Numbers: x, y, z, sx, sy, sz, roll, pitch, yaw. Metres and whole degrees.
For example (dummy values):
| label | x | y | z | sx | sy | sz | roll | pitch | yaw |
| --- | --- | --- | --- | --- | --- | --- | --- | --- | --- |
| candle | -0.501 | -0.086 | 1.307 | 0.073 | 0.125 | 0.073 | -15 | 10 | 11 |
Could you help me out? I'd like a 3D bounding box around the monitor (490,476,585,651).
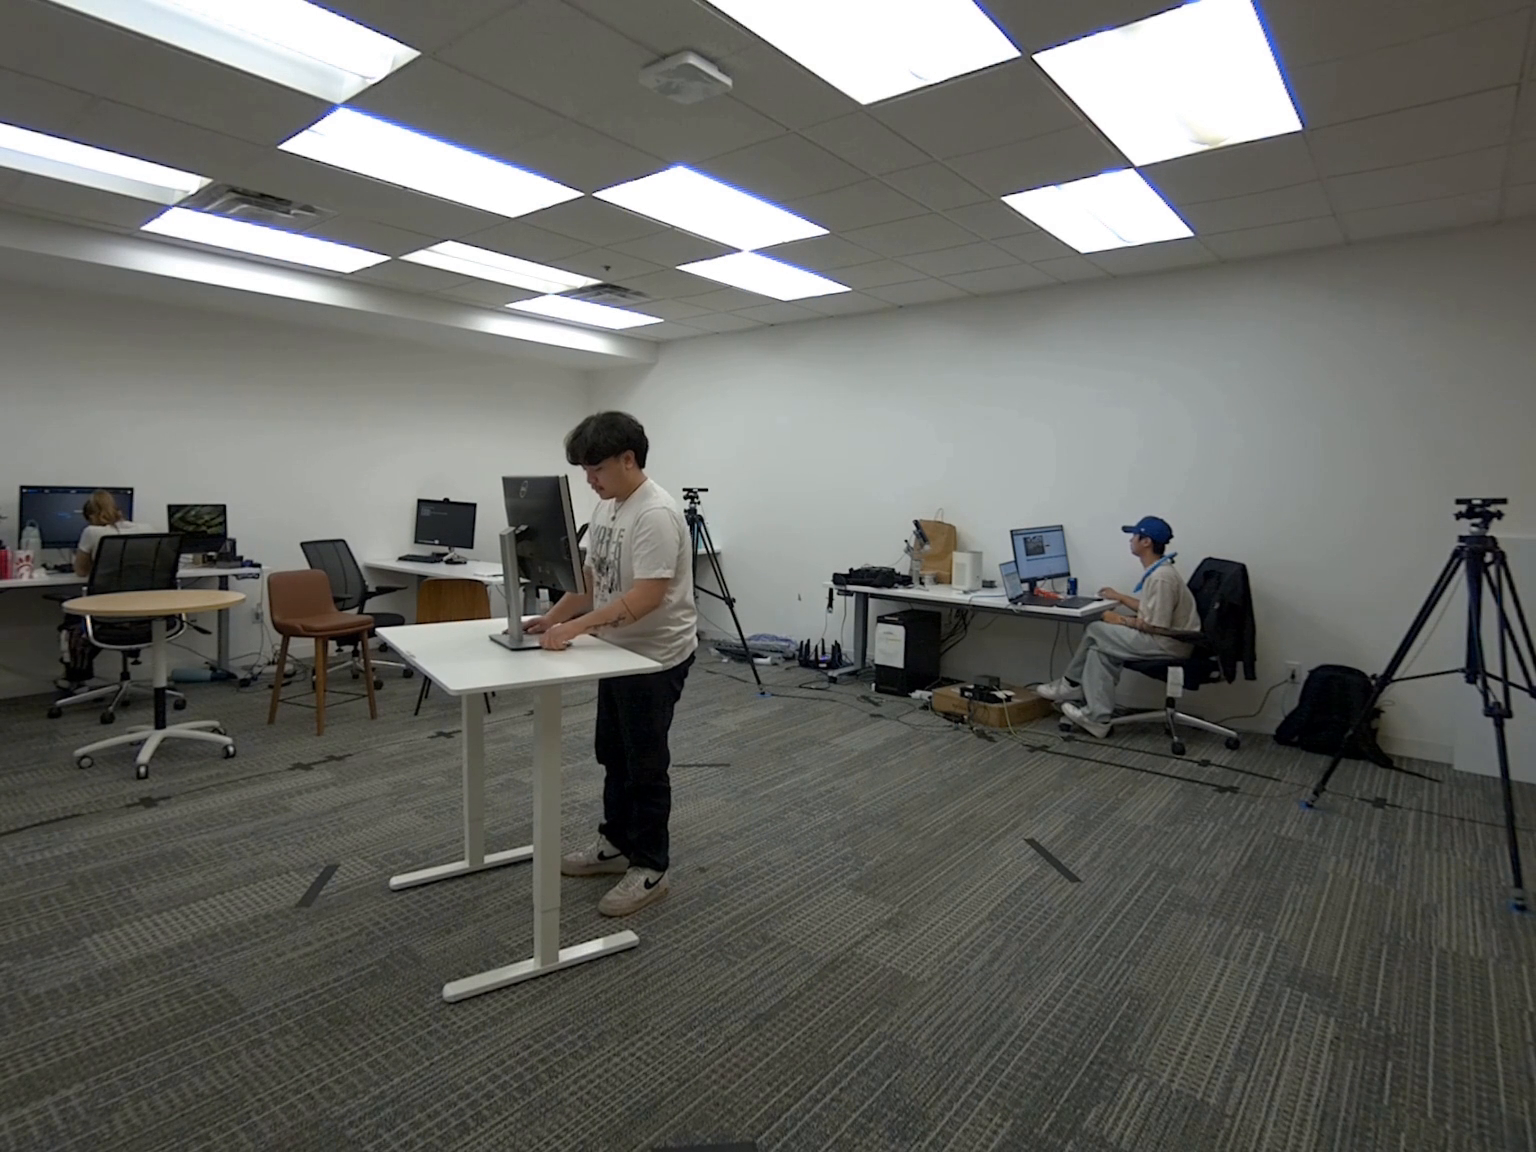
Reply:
| label | x | y | z | sx | sy | sz | roll | pitch | yaw |
| --- | --- | --- | --- | --- | --- | --- | --- | --- | --- |
| monitor | -0.793 | -0.050 | 2.719 | 0.205 | 0.550 | 0.584 | -7 | 9 | -34 |
